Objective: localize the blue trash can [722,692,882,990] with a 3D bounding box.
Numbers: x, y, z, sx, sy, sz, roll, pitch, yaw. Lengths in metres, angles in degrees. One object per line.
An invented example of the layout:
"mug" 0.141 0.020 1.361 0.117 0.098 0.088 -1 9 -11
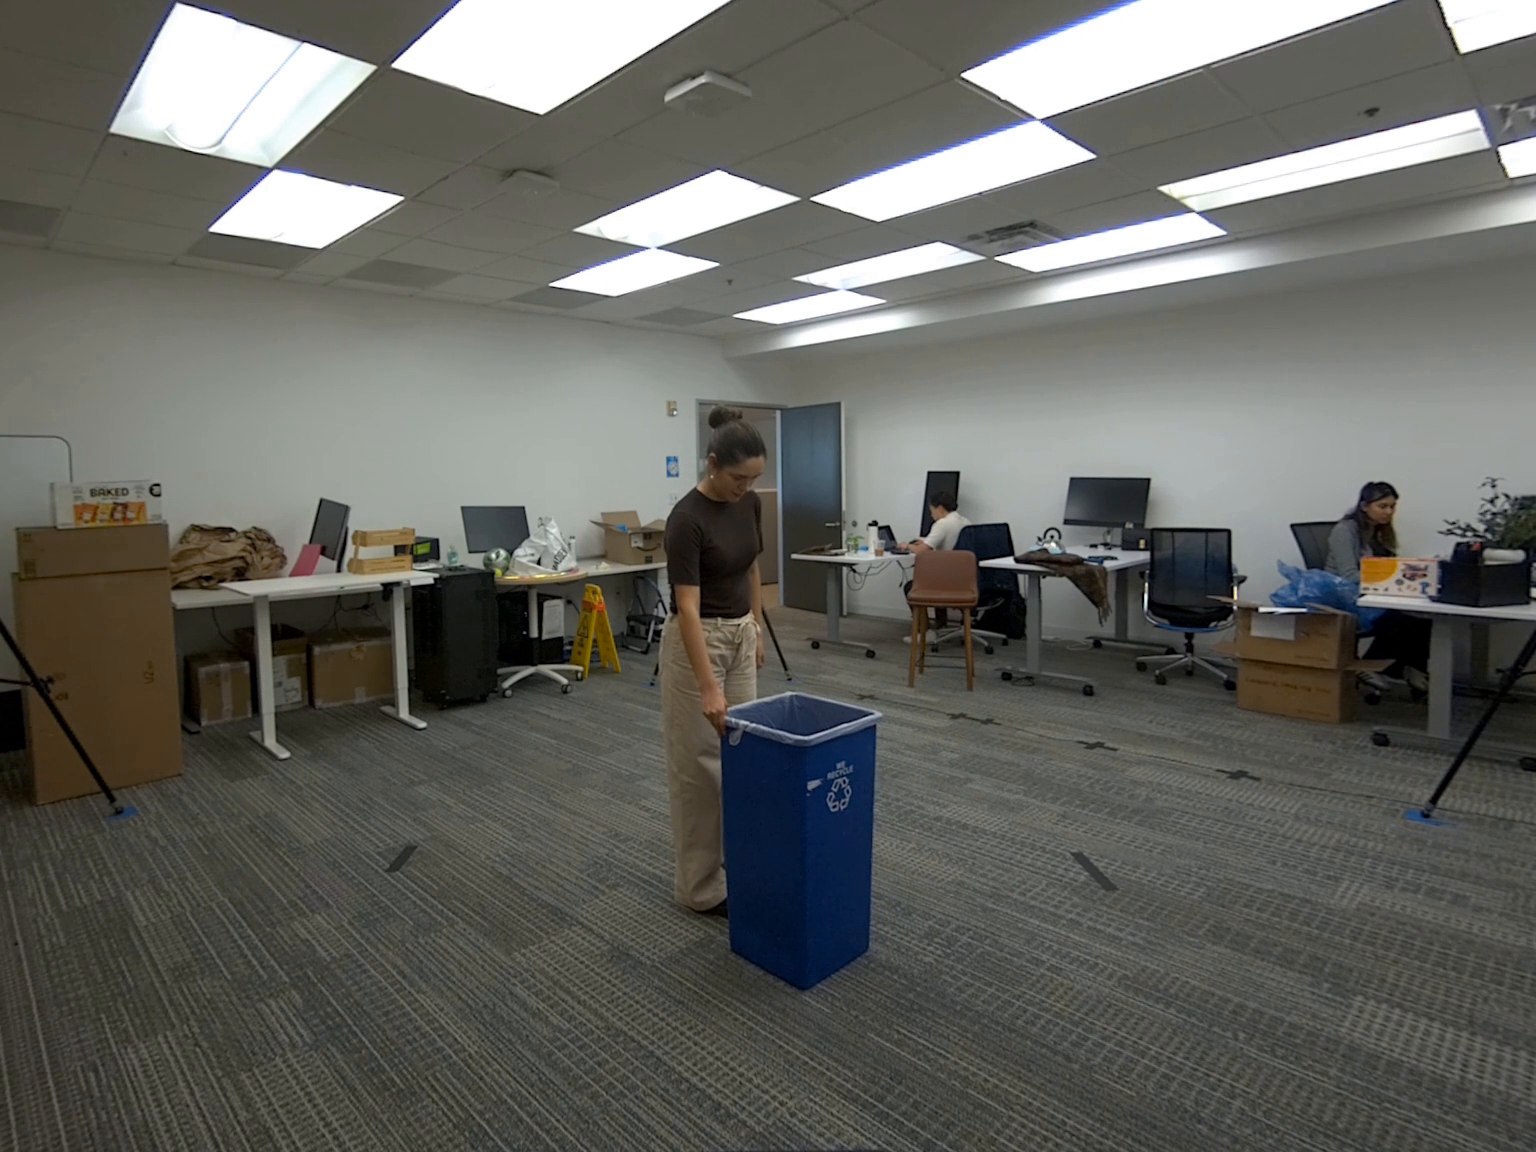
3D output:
"blue trash can" 0.103 0.754 2.504 0.385 0.711 0.368 3 6 44
